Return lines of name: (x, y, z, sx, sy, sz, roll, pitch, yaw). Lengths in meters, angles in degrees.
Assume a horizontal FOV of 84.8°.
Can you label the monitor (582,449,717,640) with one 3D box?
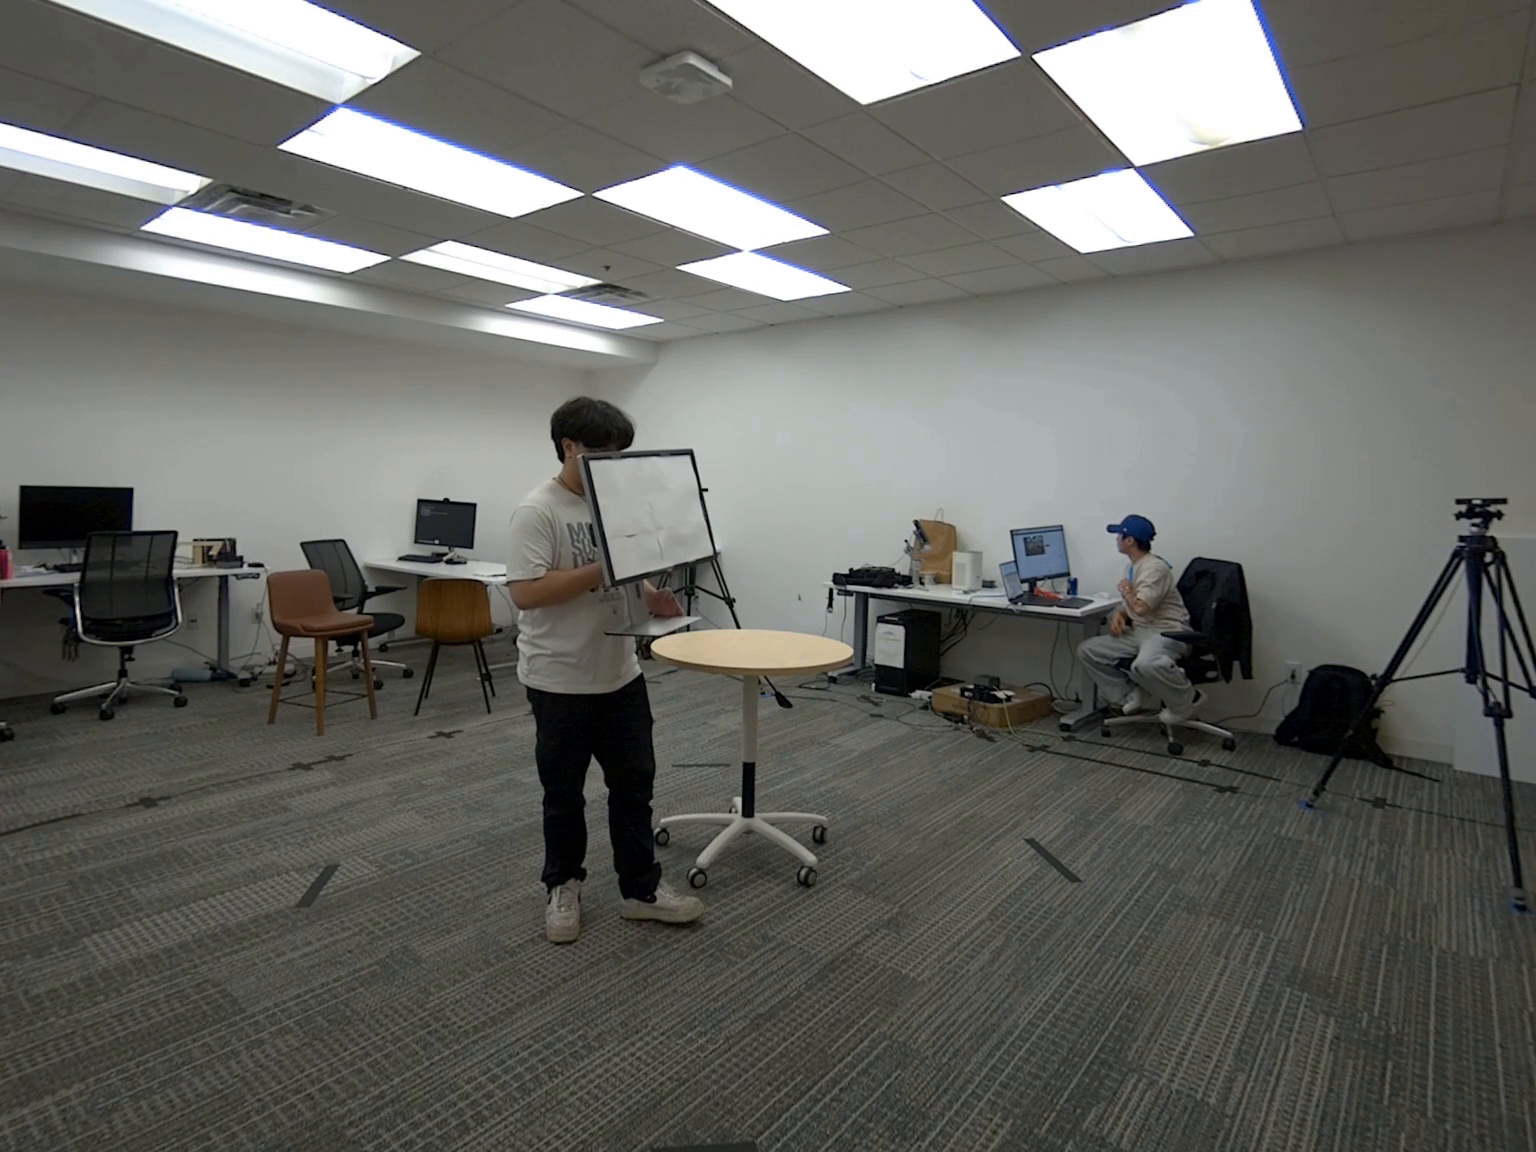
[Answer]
monitor: (-0.396, -0.095, 2.526, 0.215, 0.552, 0.553, -6, 5, 30)
